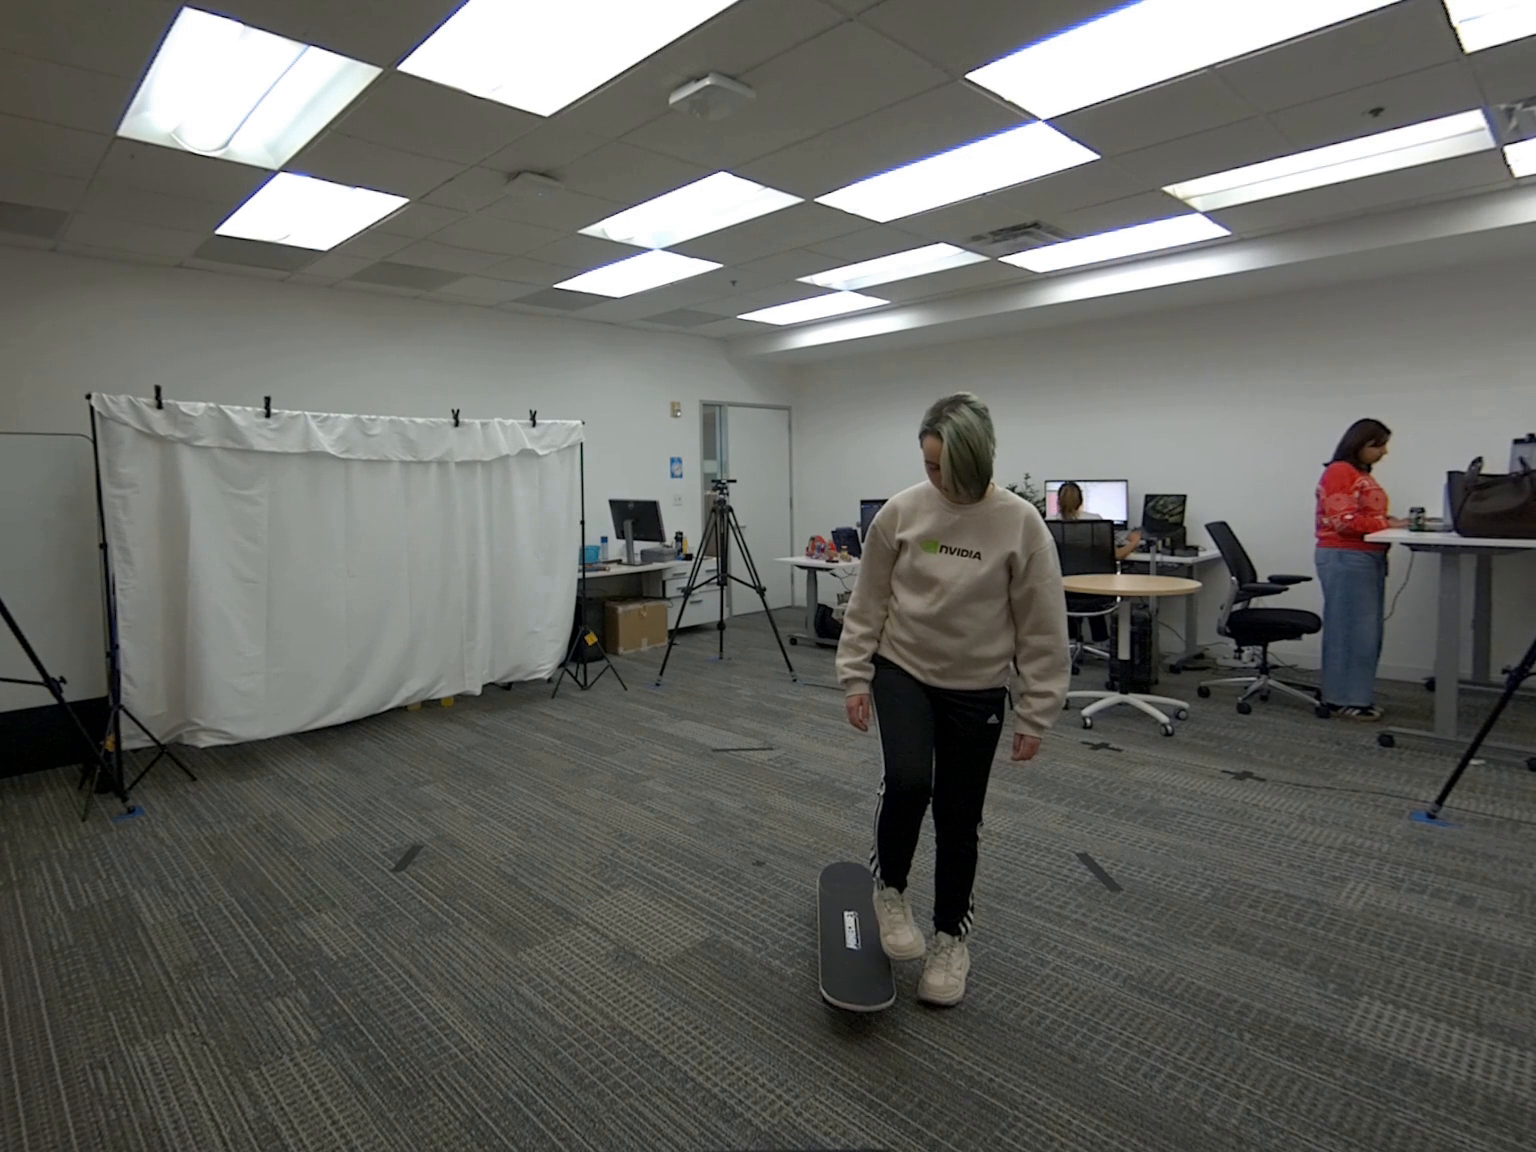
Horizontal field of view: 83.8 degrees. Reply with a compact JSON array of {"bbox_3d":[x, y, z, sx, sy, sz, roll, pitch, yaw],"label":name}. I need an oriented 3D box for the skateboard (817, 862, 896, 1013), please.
[{"bbox_3d":[0.253,1.054,2.487,0.194,0.110,0.785,1,7,3],"label":"skateboard"}]
